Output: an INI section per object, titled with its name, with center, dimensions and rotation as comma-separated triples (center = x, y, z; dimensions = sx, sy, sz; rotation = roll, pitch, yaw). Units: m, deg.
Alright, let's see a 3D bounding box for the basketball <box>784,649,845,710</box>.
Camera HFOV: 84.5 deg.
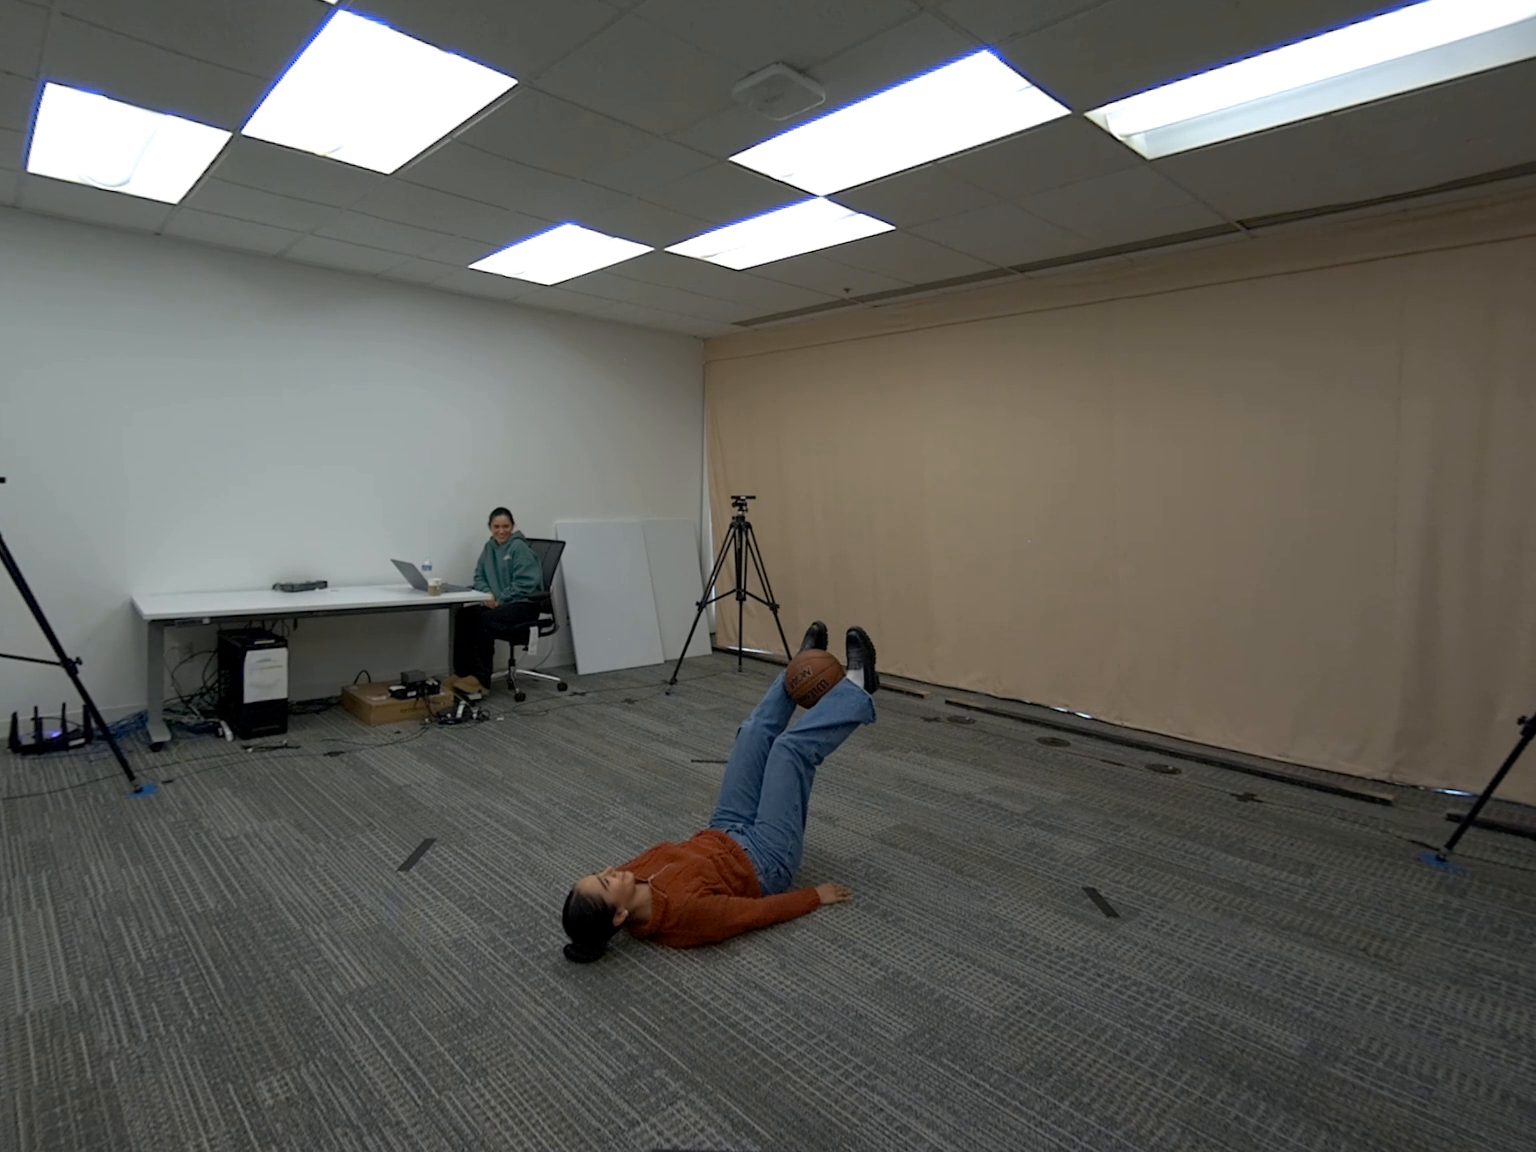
[basketball]
center = 0.178, 0.404, 3.280
dimensions = 0.236, 0.235, 0.237
rotation = 1, 4, -1
